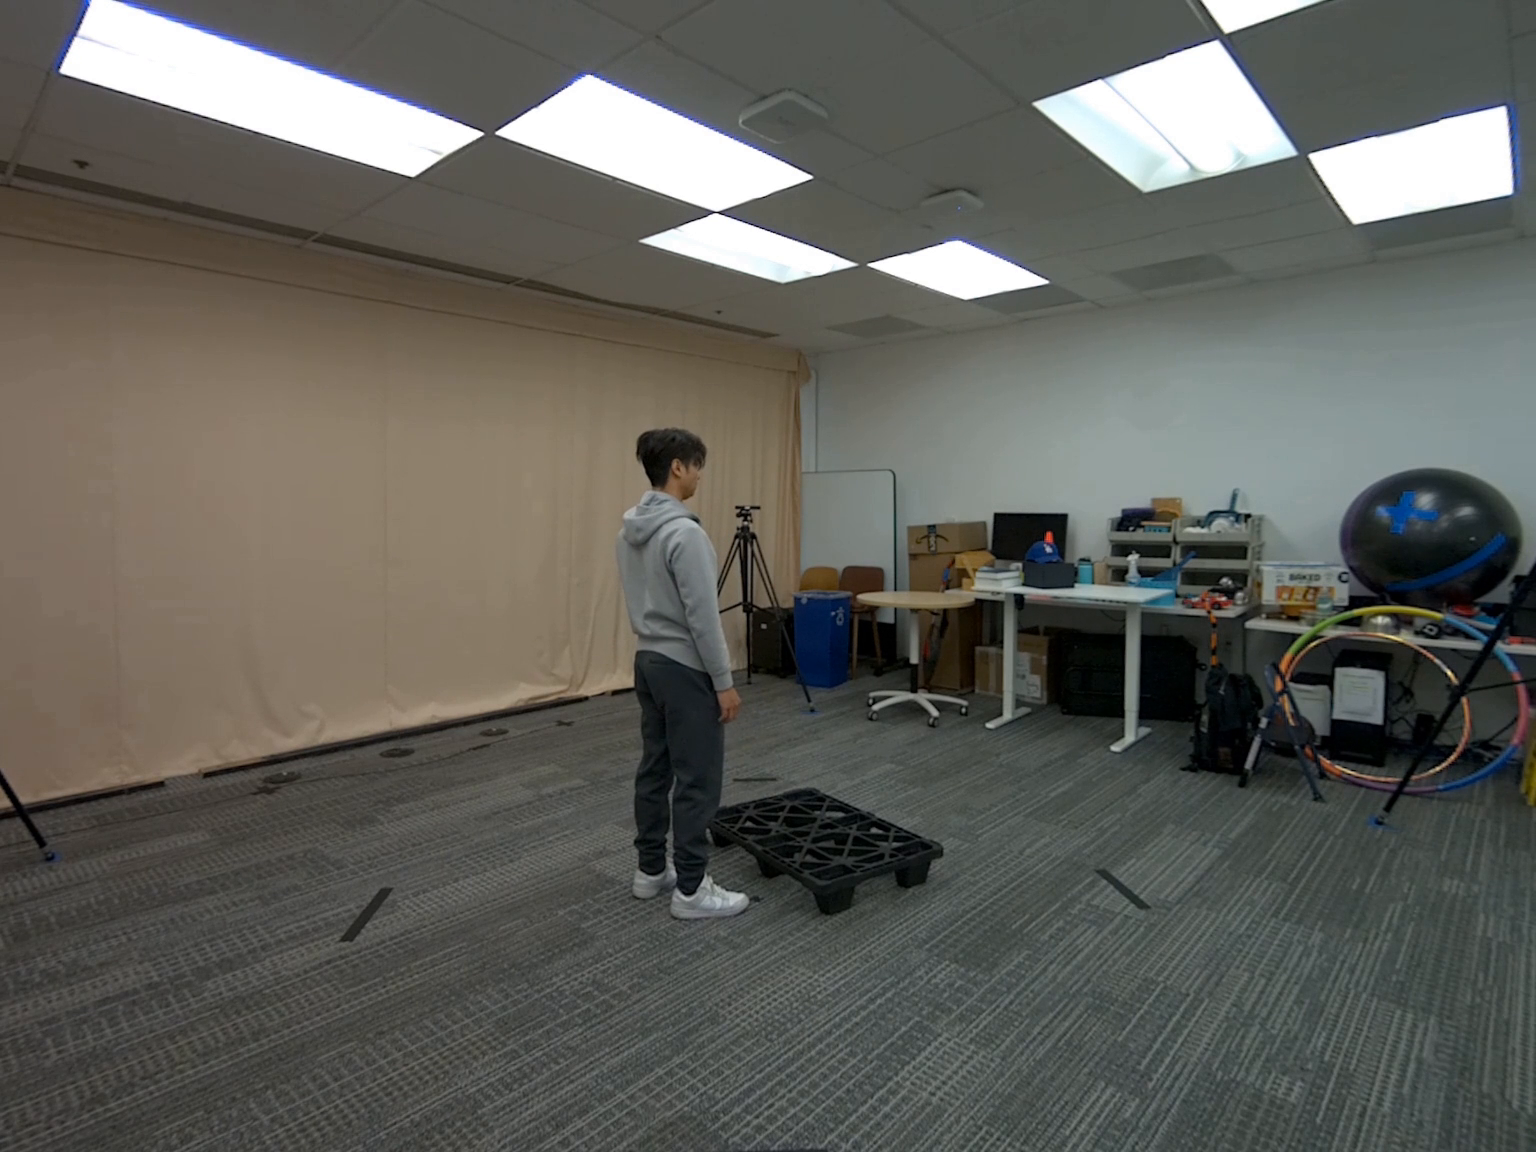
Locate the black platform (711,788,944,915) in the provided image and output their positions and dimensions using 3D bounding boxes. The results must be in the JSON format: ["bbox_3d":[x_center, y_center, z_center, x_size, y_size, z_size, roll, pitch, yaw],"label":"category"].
[{"bbox_3d":[0.183,1.053,3.279,0.588,0.143,0.831,-4,6,-34],"label":"black platform"}]
